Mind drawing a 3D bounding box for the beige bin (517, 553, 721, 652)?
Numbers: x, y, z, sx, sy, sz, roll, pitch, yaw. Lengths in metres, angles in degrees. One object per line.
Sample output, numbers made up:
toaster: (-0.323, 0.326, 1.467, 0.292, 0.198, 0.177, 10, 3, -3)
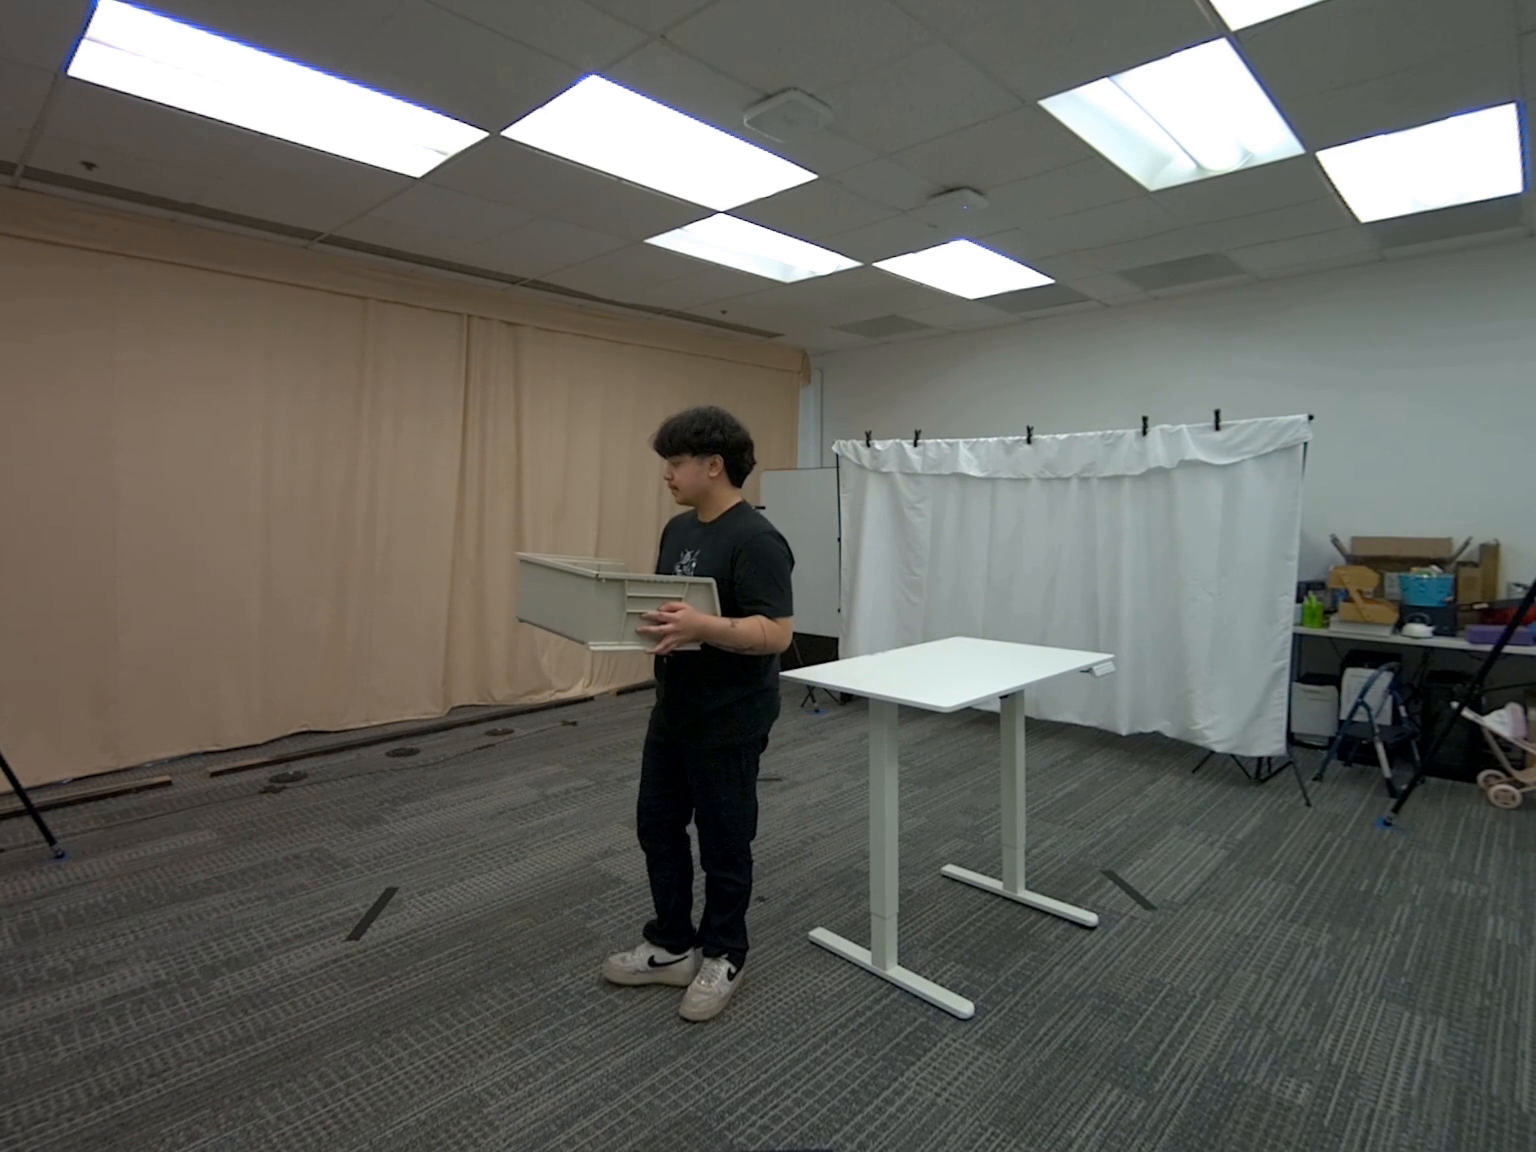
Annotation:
beige bin: (-0.393, 0.065, 2.164, 0.365, 0.188, 0.437, 2, 6, -41)
